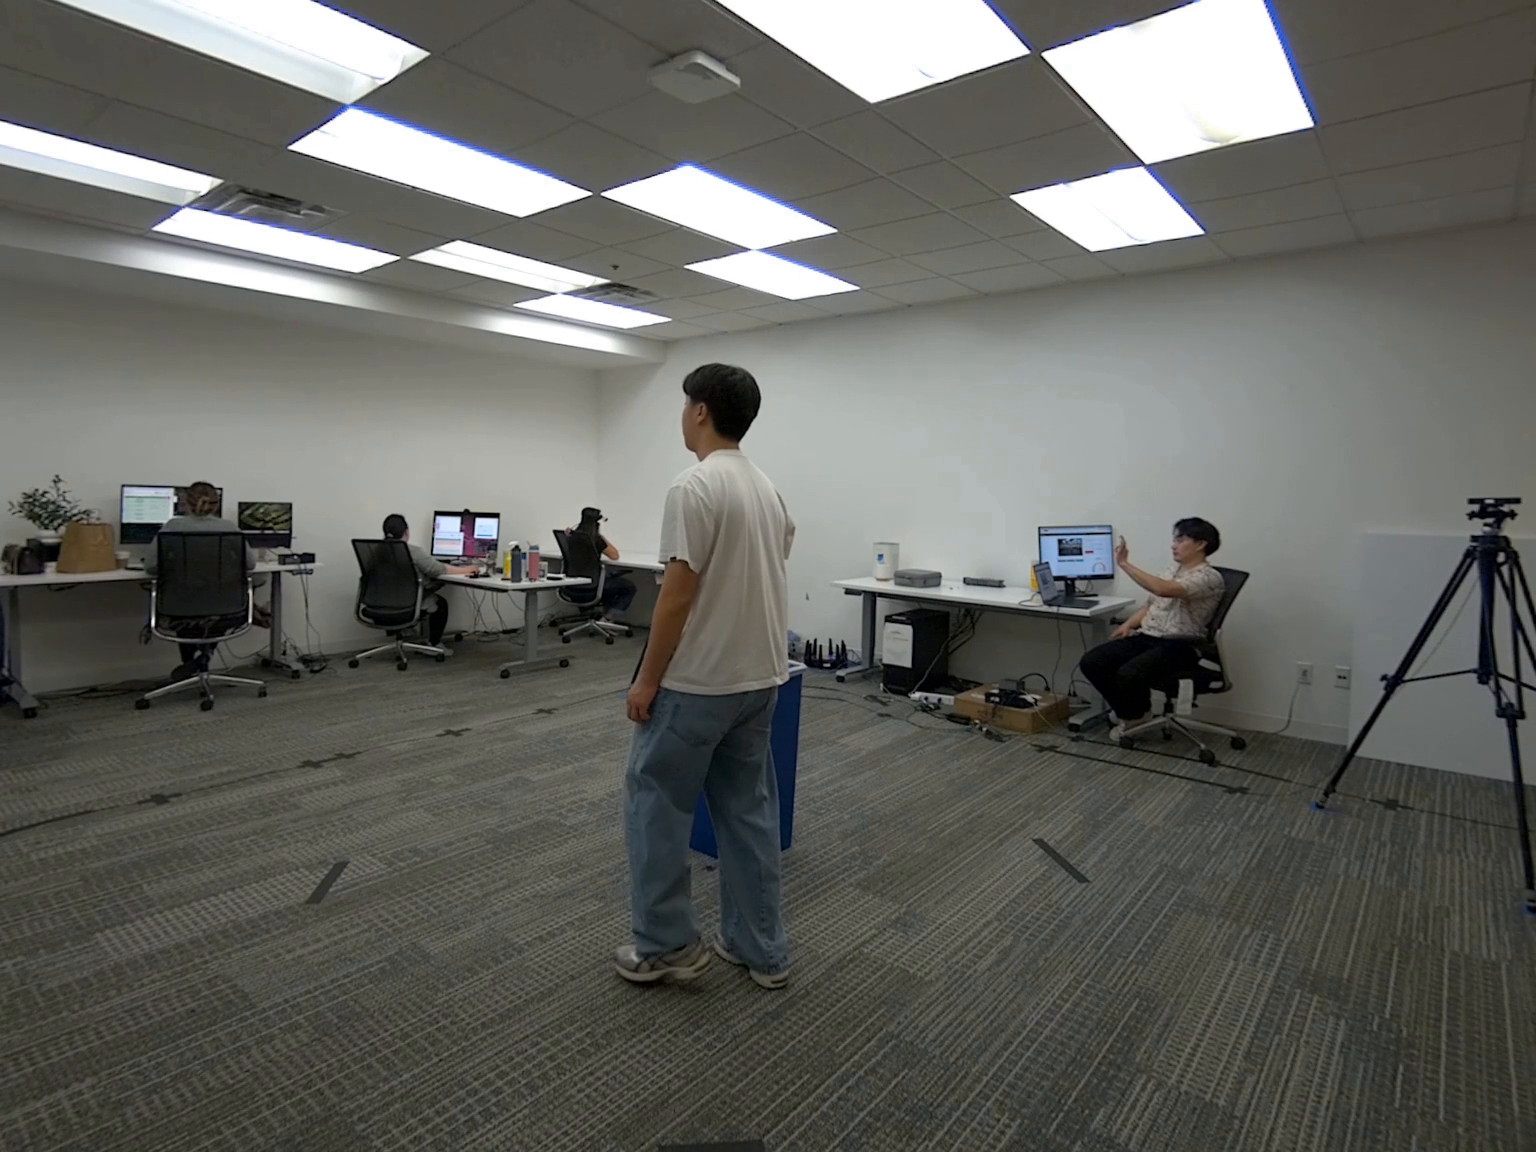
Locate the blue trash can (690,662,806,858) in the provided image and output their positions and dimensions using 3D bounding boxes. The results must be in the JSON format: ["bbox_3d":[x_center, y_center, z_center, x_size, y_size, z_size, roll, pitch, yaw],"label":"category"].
[{"bbox_3d":[-0.105,0.690,3.293,0.386,0.712,0.367,3,4,39],"label":"blue trash can"}]
